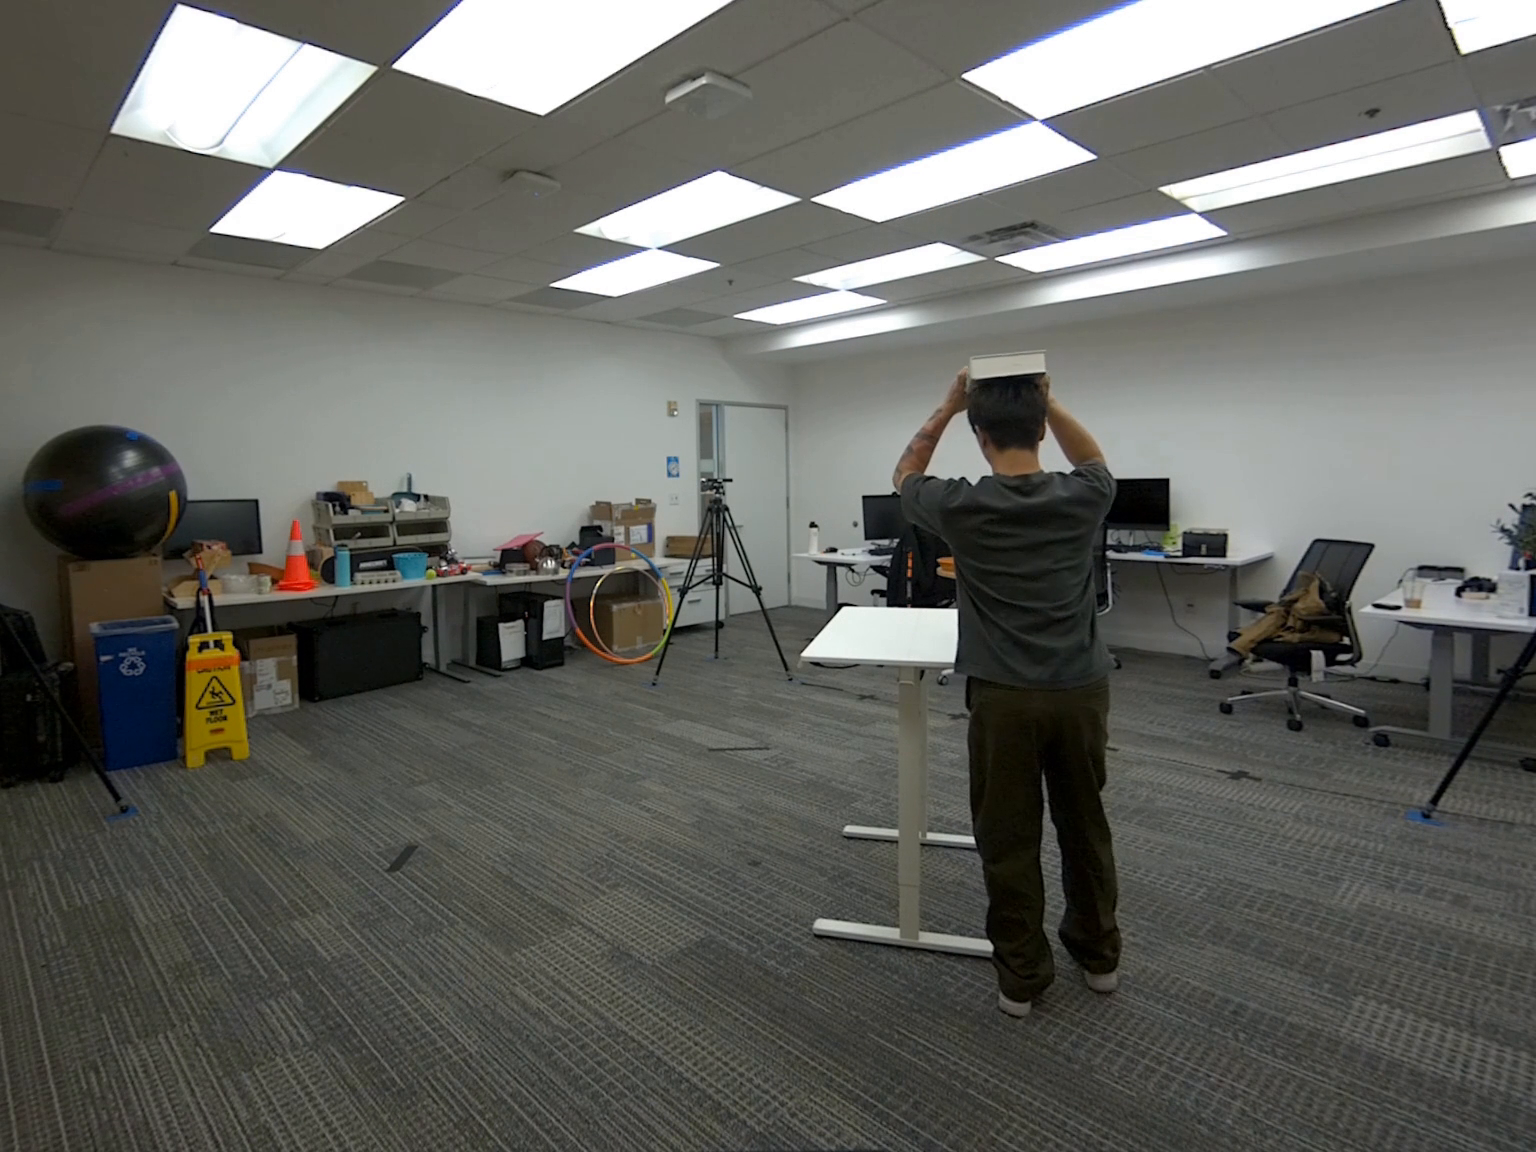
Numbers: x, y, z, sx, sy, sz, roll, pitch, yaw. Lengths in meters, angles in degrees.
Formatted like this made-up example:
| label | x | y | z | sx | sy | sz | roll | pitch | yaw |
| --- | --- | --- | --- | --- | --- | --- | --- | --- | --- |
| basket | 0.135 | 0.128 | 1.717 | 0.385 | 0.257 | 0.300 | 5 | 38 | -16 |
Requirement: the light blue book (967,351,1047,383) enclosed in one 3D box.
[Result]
| label | x | y | z | sx | sy | sz | roll | pitch | yaw |
| --- | --- | --- | --- | --- | --- | --- | --- | --- | --- |
| light blue book | 0.650 | -0.542 | 2.298 | 0.193 | 0.059 | 0.258 | -2 | 0 | 8 |
